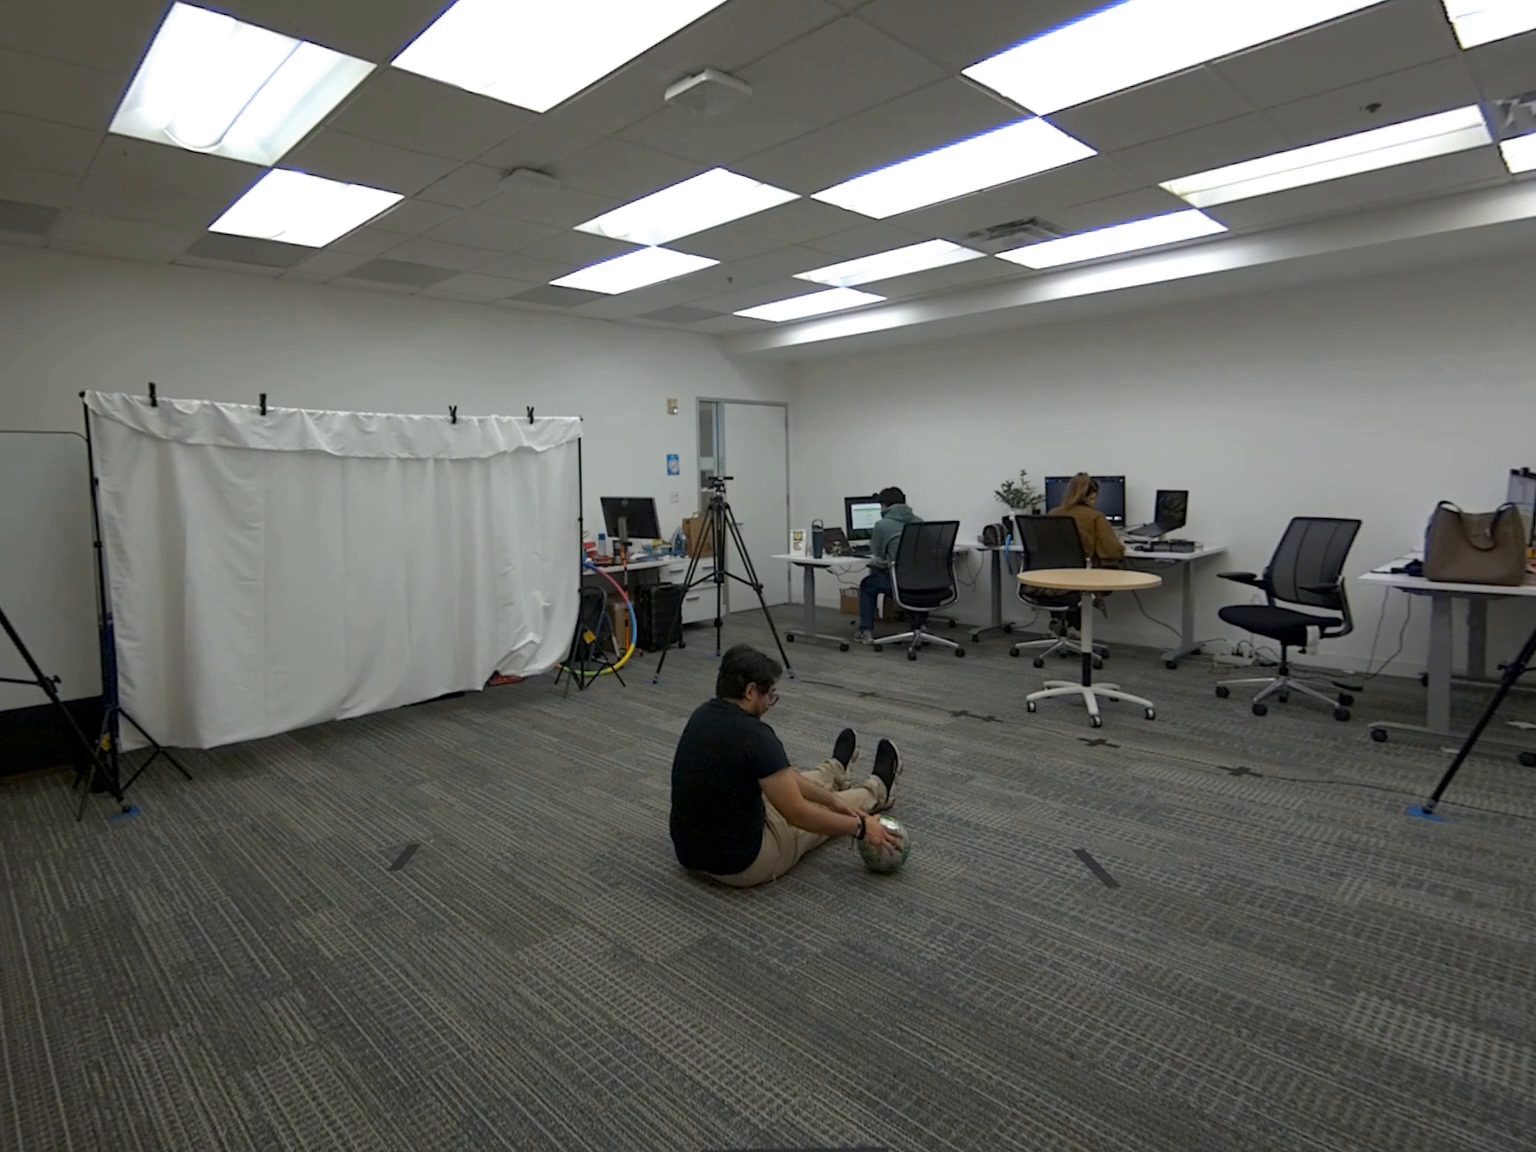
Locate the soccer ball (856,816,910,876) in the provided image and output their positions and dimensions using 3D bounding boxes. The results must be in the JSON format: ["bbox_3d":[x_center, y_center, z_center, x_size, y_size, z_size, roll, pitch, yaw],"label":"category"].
[{"bbox_3d":[0.400,0.936,3.005,0.187,0.187,0.188,-1,4,-2],"label":"soccer ball"}]
